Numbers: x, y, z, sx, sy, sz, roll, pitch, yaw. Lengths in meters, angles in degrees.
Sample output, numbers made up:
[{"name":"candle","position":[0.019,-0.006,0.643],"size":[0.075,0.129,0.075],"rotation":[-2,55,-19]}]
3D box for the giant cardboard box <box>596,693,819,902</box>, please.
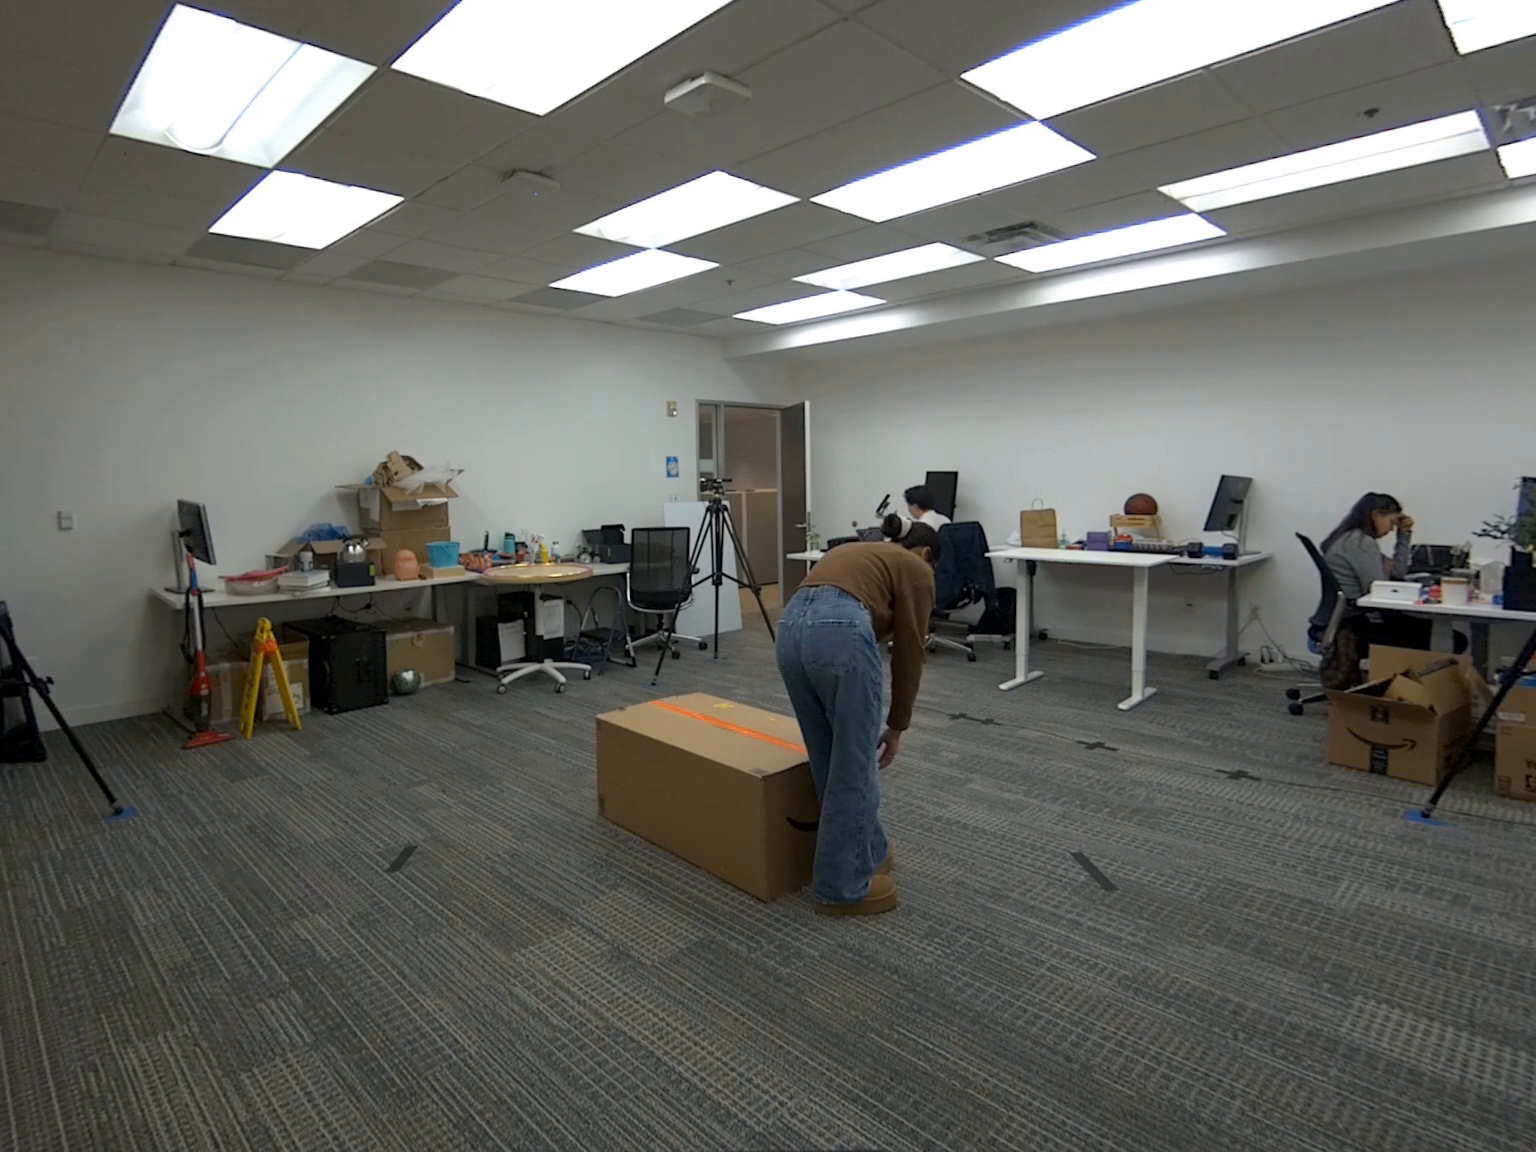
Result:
[{"name":"giant cardboard box","position":[-0.161,0.806,3.374],"size":[0.569,0.444,1.059],"rotation":[-7,9,-42]}]
